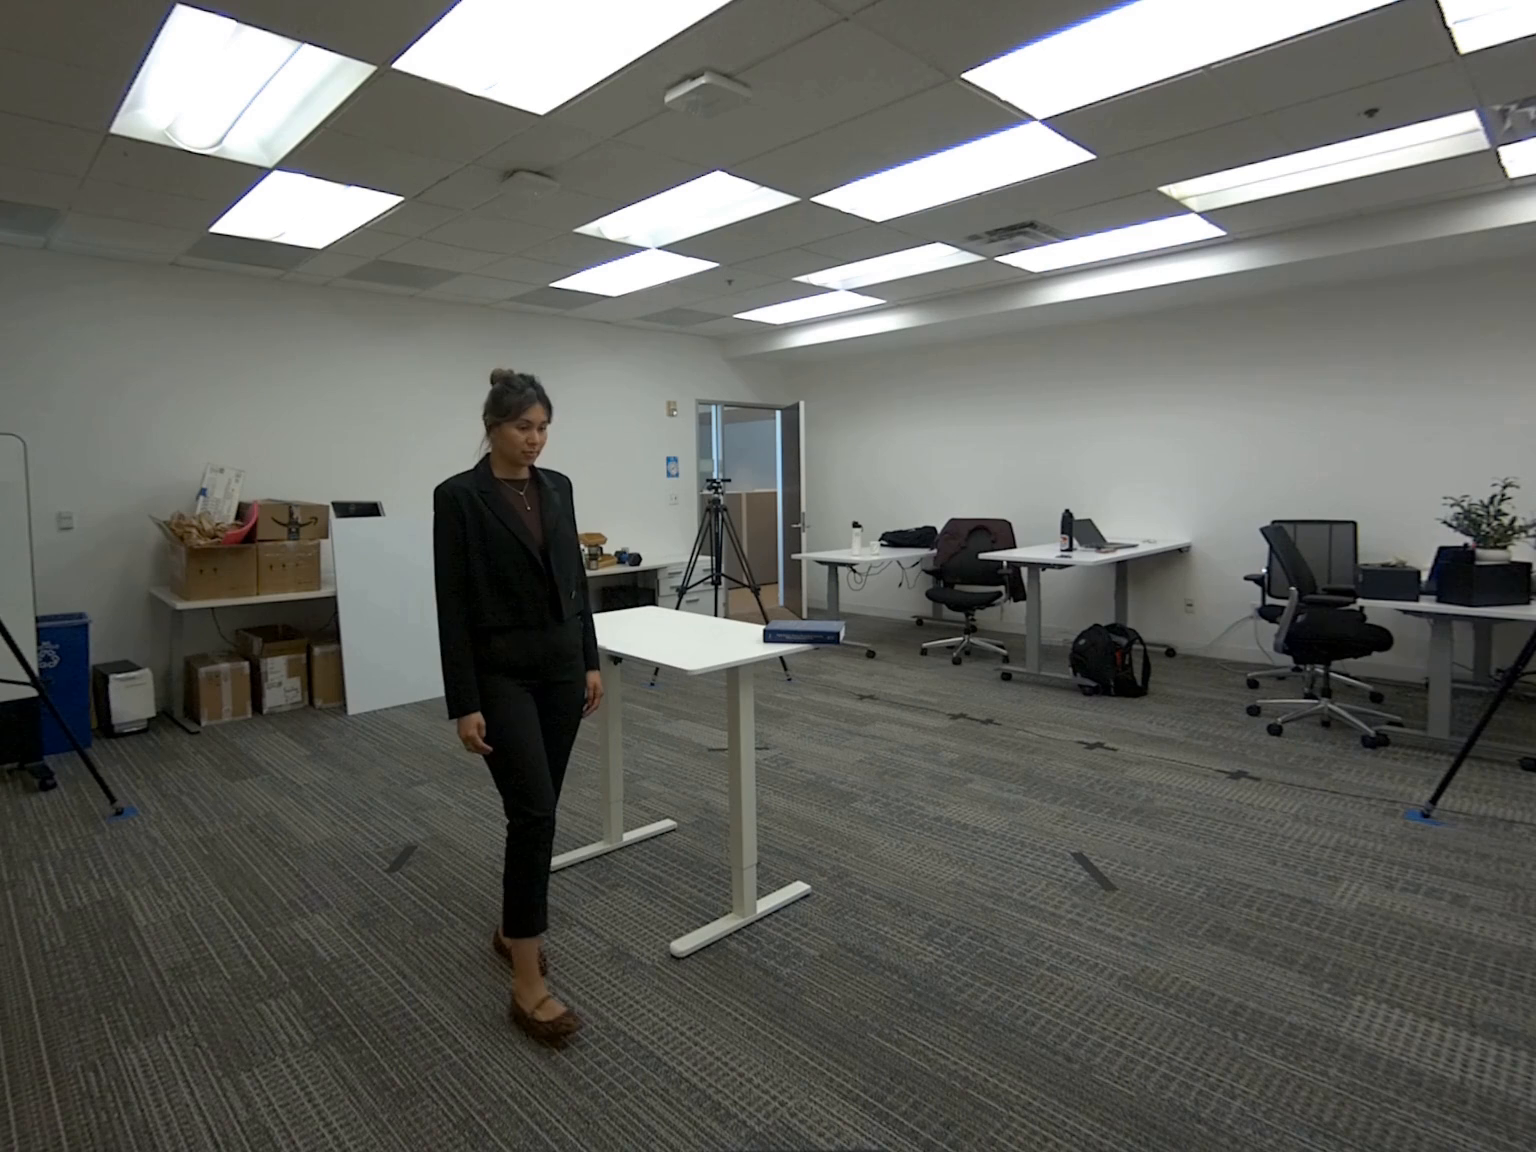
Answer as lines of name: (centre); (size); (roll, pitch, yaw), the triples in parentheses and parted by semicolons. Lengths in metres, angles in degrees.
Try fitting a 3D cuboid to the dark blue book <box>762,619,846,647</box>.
dark blue book: (0.120, 0.177, 2.736); (0.248, 0.045, 0.162); (0, 8, 13)
